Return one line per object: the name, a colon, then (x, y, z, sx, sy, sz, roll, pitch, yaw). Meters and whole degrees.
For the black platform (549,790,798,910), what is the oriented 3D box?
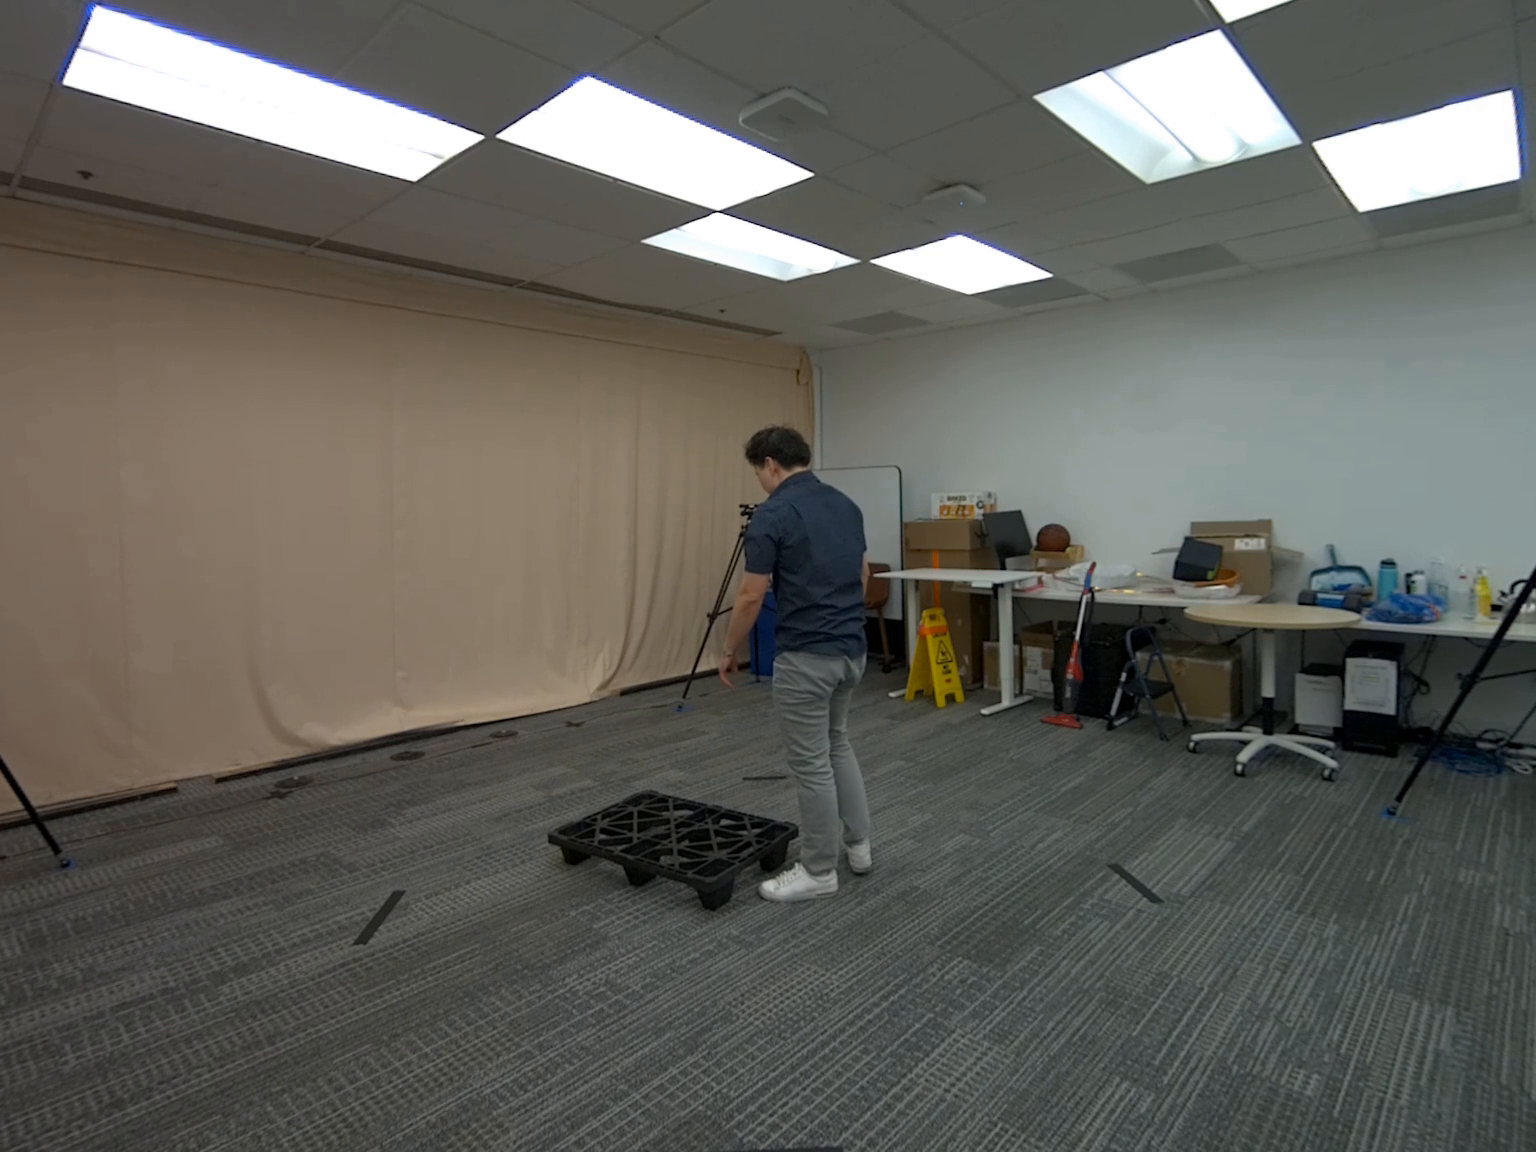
black platform: (-0.366, 1.055, 3.288, 0.831, 0.143, 0.588, 2, 5, 35)
